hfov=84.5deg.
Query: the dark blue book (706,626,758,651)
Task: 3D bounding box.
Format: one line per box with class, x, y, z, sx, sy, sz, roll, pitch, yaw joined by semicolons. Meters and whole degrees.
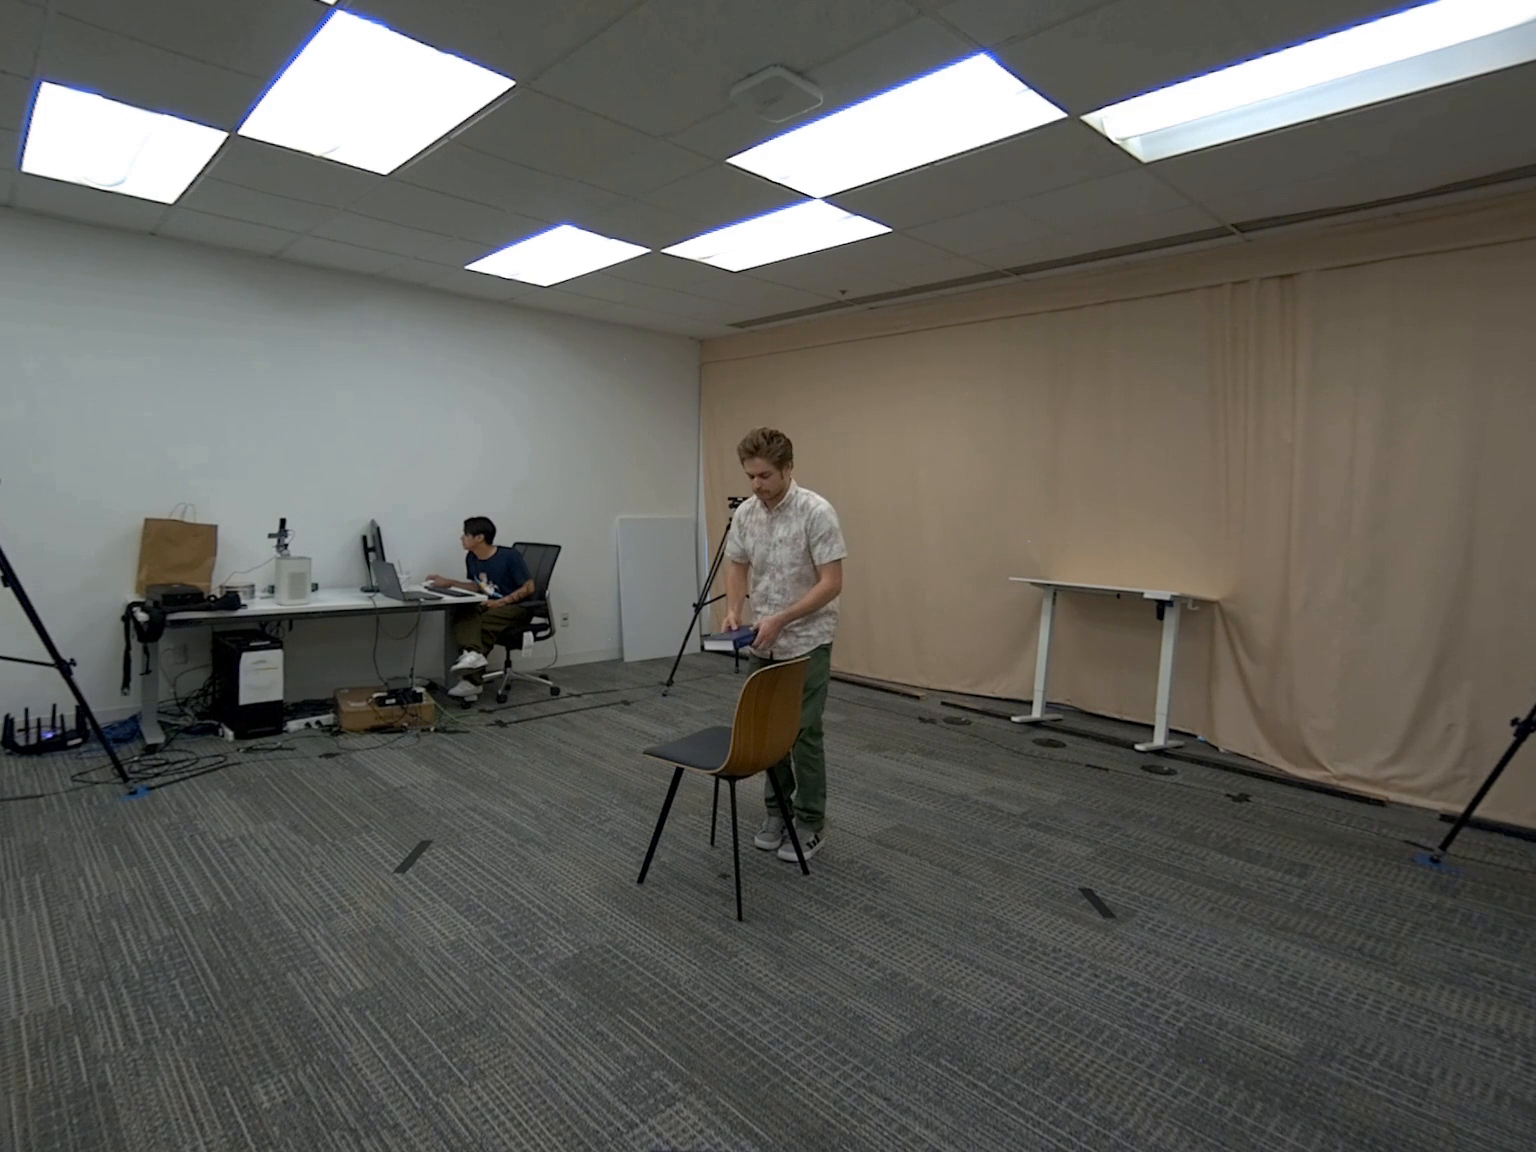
dark blue book;-0.128;0.241;3.231;0.167;0.045;0.240;-4;6;41
